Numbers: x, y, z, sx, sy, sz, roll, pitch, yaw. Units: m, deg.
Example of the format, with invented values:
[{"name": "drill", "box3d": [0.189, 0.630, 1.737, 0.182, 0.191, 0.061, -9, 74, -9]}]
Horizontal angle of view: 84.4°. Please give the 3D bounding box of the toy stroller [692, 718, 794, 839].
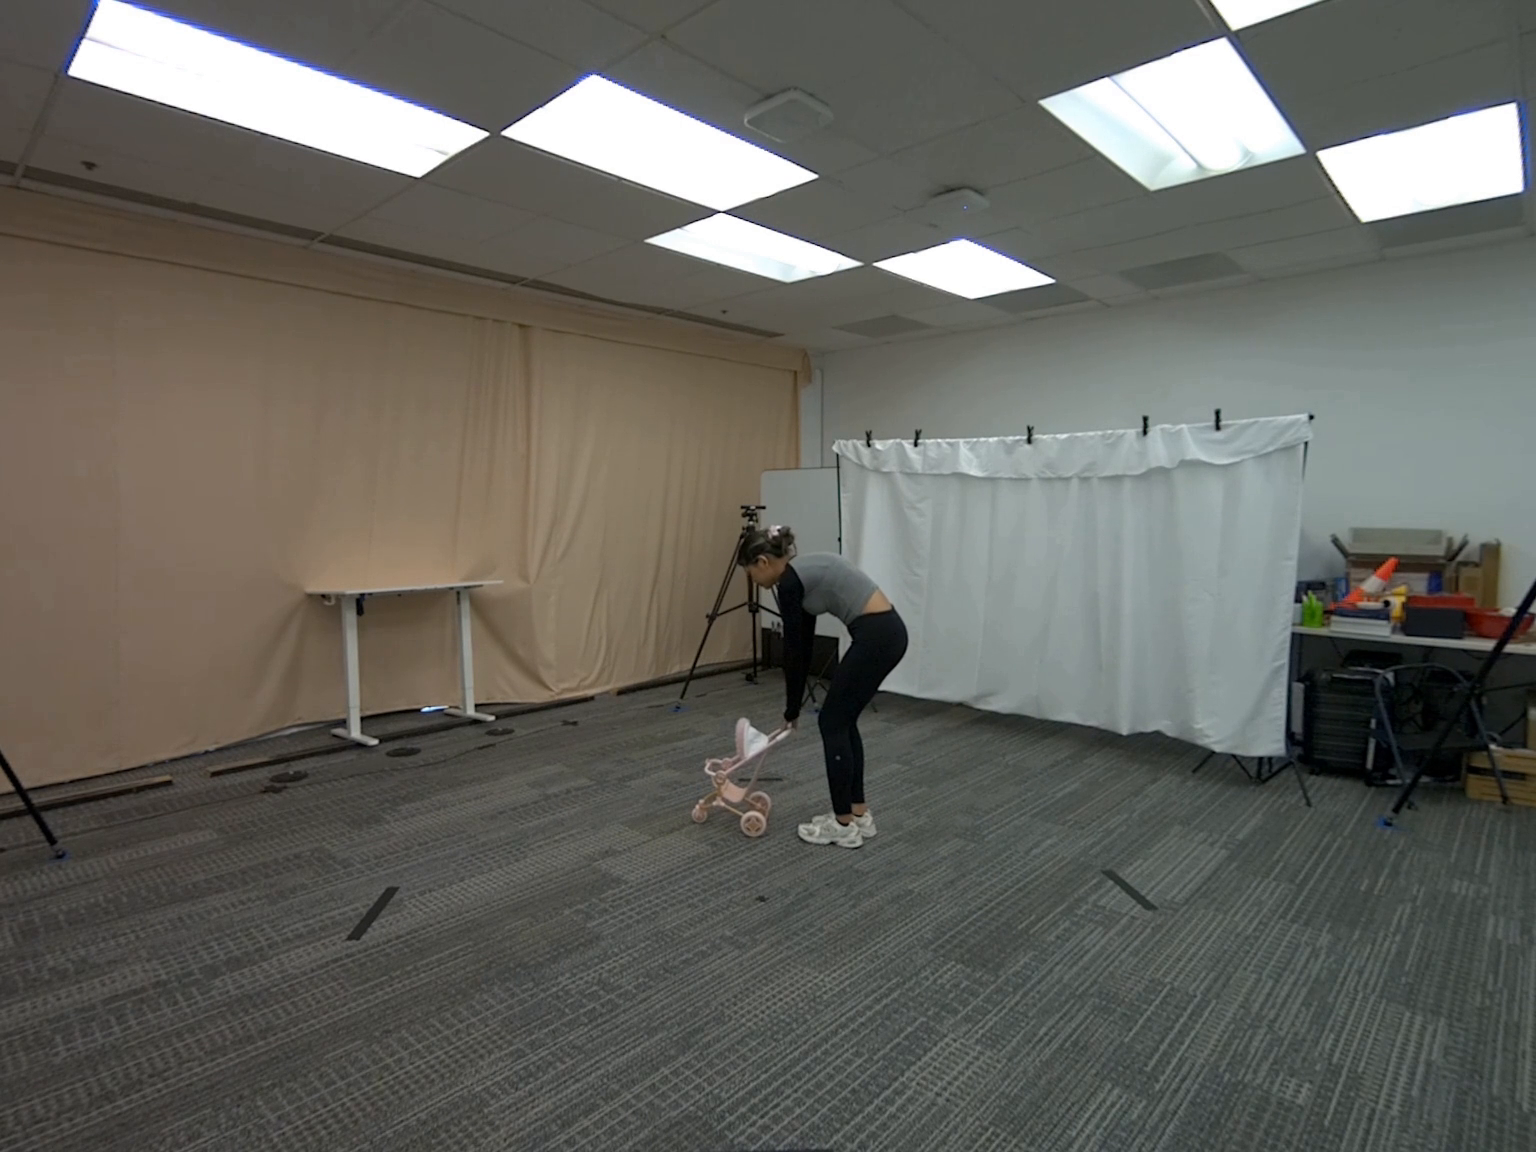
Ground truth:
[{"name": "toy stroller", "box3d": [-0.116, 0.863, 3.671, 0.347, 0.534, 0.278, 15, 6, 12]}]
